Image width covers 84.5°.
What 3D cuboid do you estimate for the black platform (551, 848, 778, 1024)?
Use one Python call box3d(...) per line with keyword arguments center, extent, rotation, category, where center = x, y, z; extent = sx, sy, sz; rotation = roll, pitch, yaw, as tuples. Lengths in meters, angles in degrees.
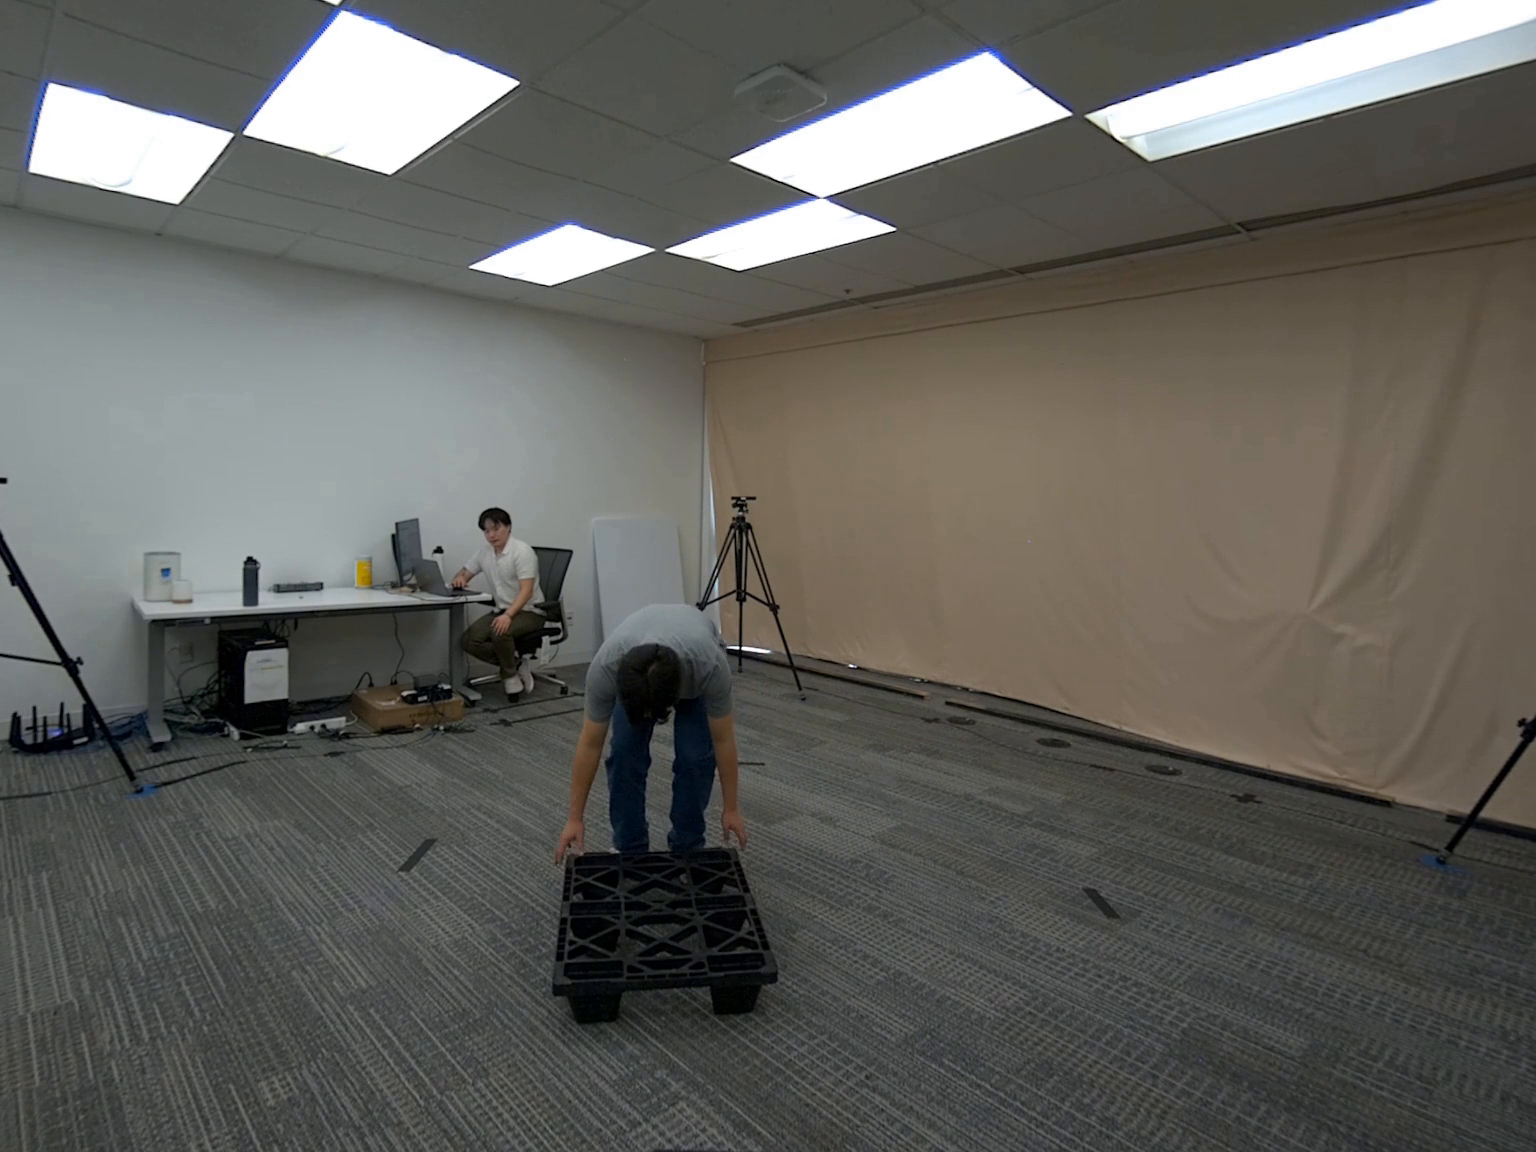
box3d(center=(-0.348, 1.082, 2.589), extent=(0.601, 0.143, 0.814), rotation=(0, 5, -10), category="black platform")
